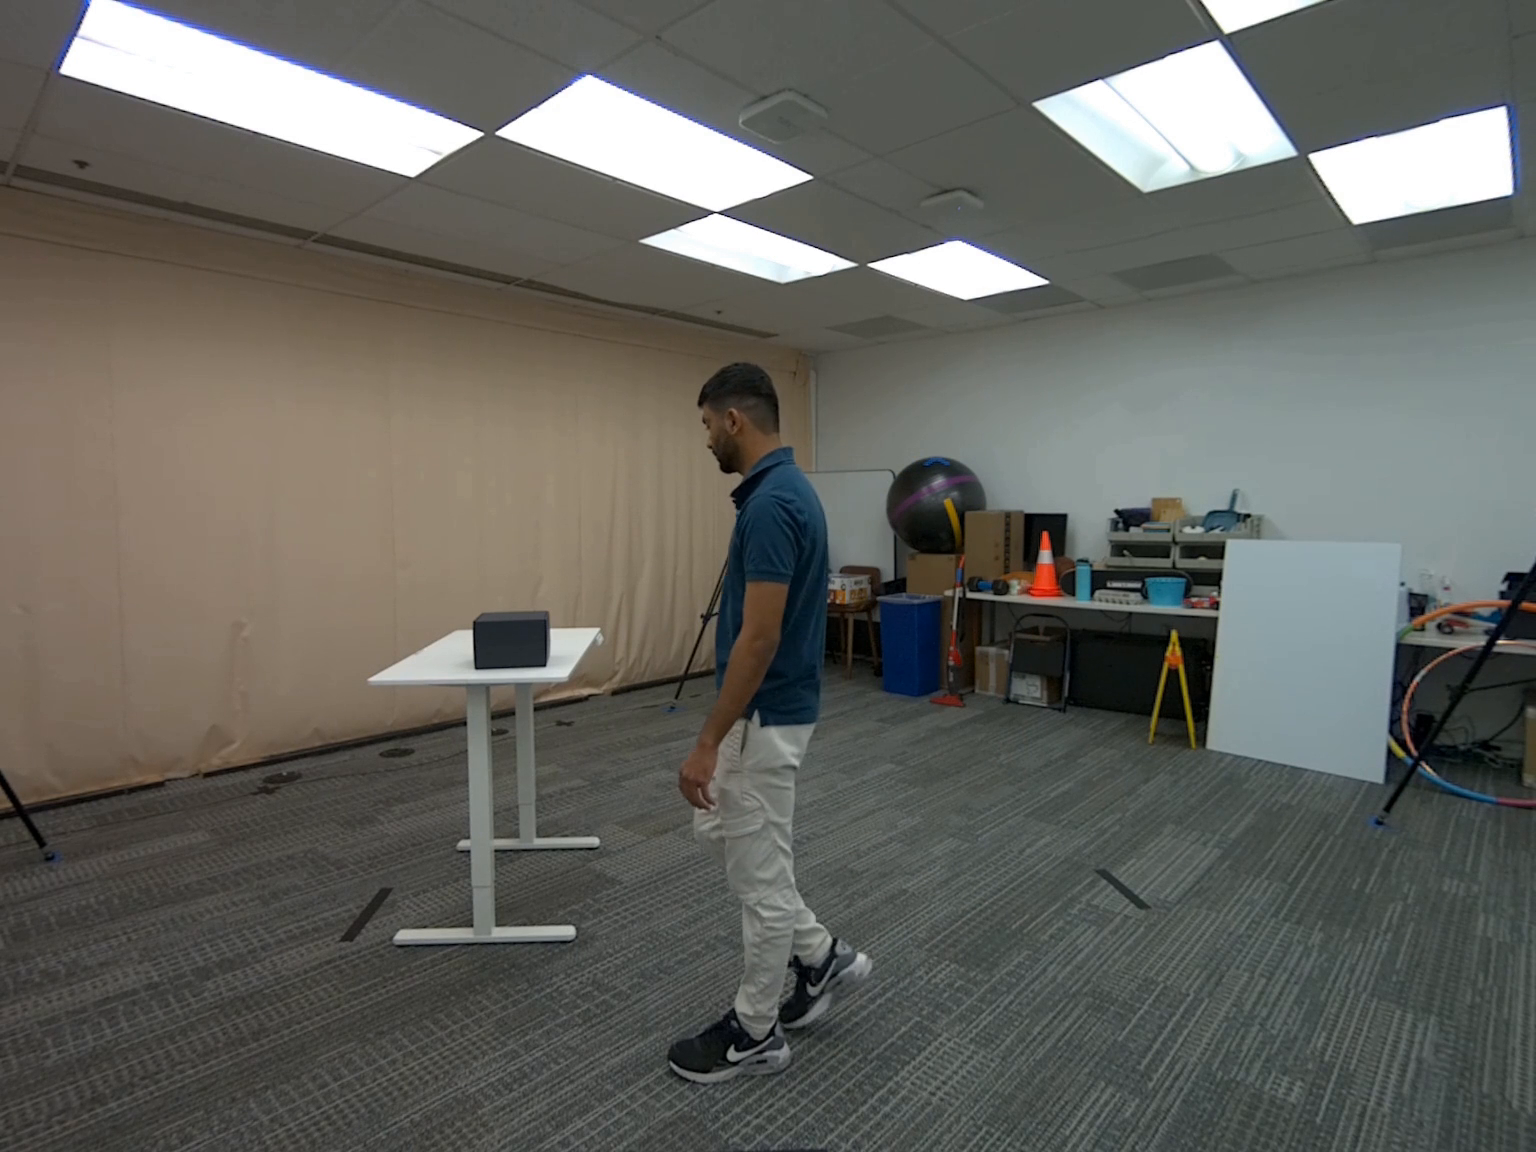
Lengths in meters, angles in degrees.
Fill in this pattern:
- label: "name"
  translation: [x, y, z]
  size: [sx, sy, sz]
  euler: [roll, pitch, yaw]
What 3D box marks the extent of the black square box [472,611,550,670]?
- label: "black square box"
  translation: [-0.849, 0.208, 2.798]
  size: [0.227, 0.155, 0.218]
  euler: [-2, 4, -5]
